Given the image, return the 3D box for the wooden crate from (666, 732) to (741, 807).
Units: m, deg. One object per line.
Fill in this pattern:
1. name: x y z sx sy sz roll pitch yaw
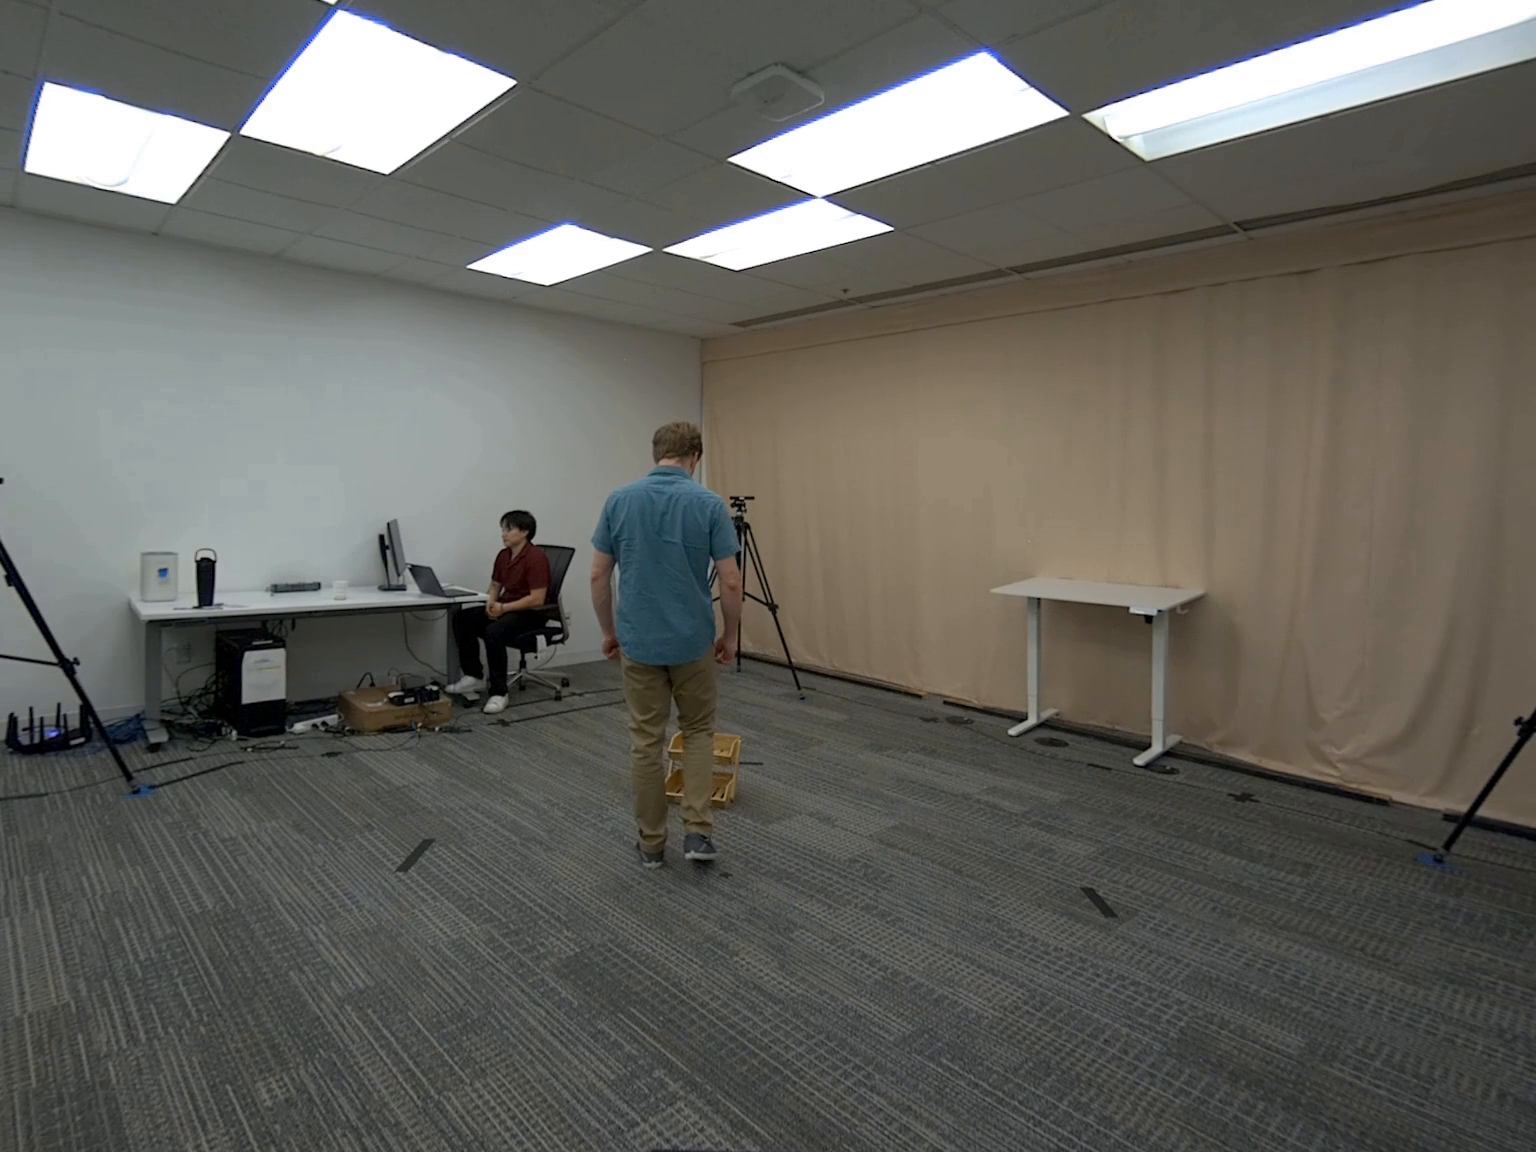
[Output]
1. wooden crate: -0.318 0.894 3.924 0.328 0.273 0.299 2 2 12
